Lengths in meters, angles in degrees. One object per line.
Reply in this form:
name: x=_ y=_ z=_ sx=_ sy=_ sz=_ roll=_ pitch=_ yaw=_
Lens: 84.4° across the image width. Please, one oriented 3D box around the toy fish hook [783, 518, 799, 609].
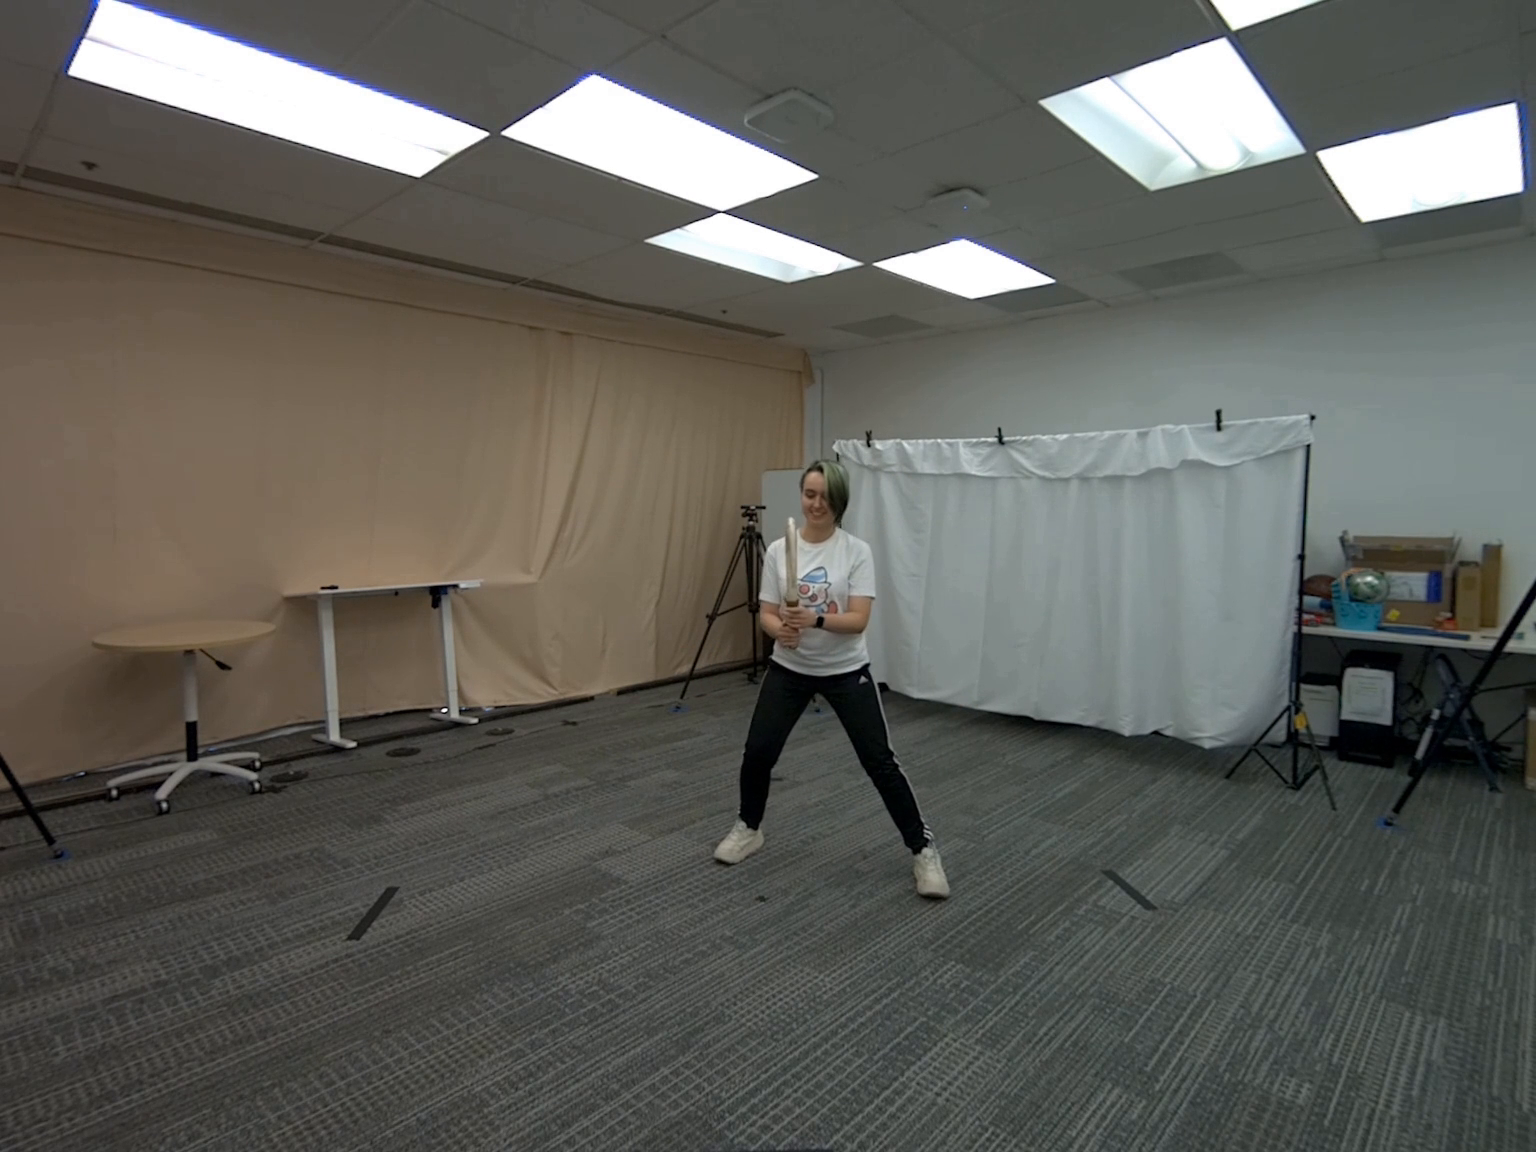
toy fish hook: x=0.087 y=0.052 z=2.837 sx=0.048 sy=0.498 sz=0.227 roll=-3 pitch=24 yaw=5
